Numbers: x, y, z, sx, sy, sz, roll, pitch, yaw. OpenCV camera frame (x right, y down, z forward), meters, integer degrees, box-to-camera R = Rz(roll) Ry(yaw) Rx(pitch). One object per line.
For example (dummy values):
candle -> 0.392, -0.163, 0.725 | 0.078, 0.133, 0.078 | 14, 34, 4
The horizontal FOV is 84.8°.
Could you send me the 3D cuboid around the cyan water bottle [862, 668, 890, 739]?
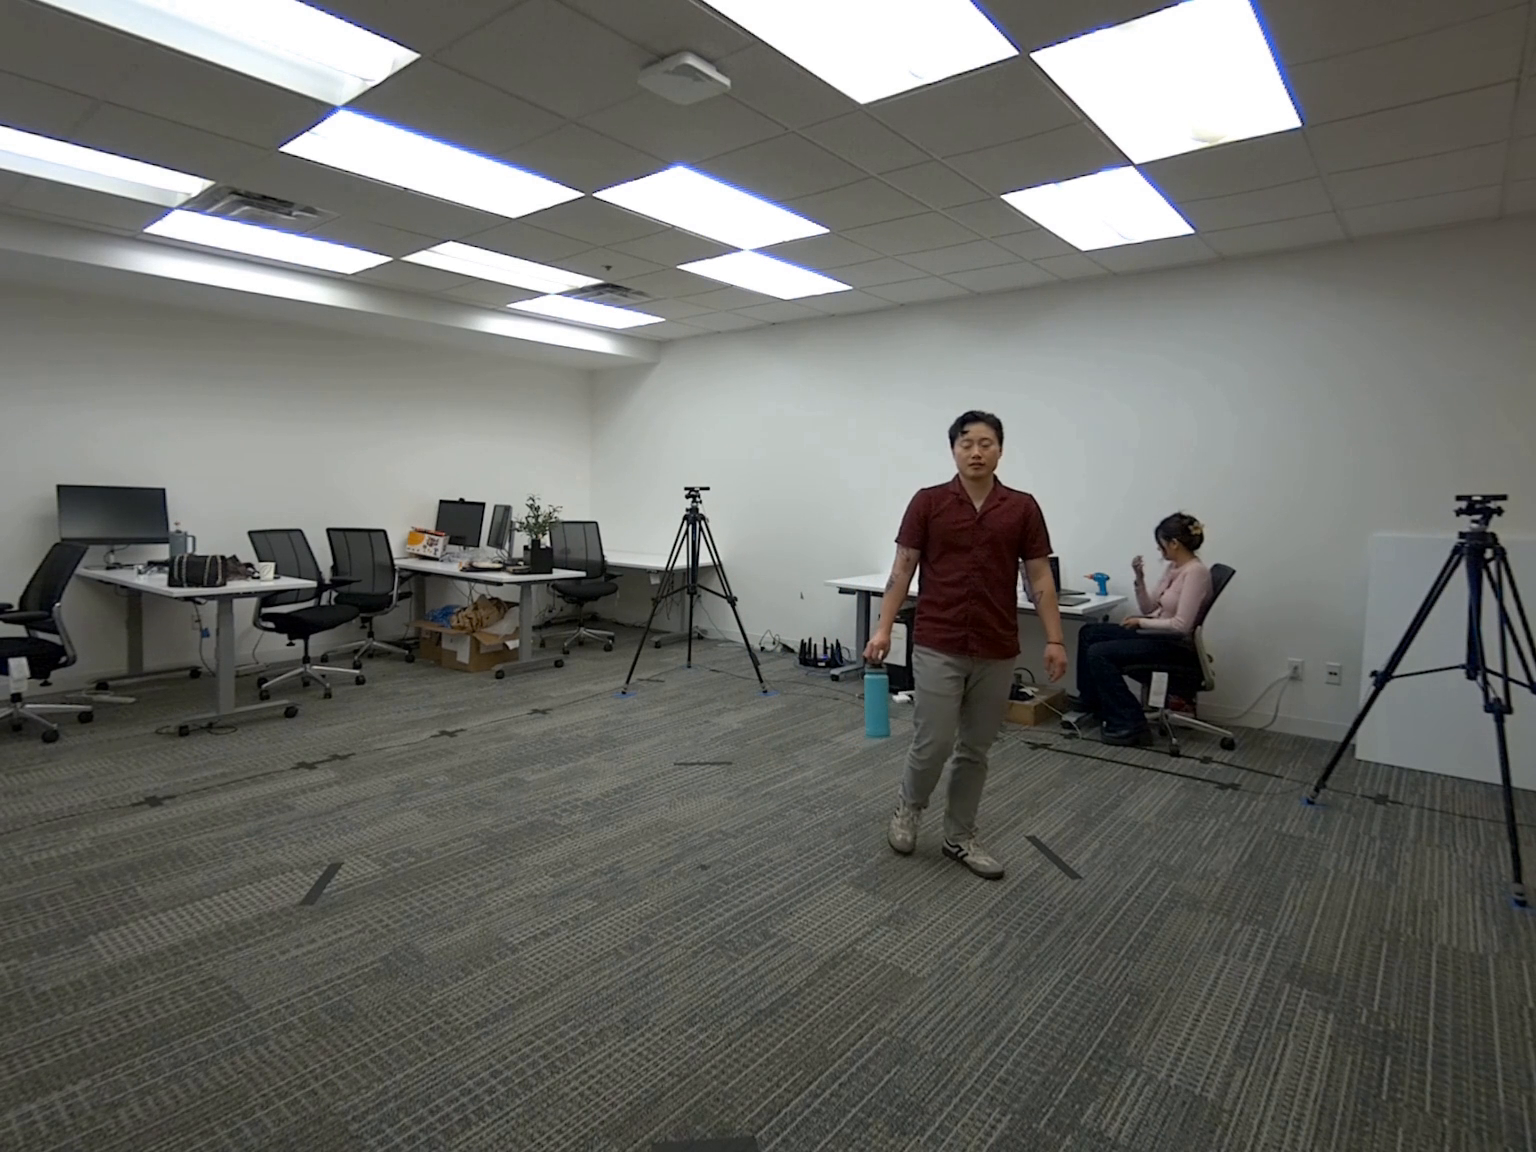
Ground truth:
cyan water bottle -> 0.398, 0.448, 3.131 | 0.092, 0.285, 0.092 | -2, -4, -2
